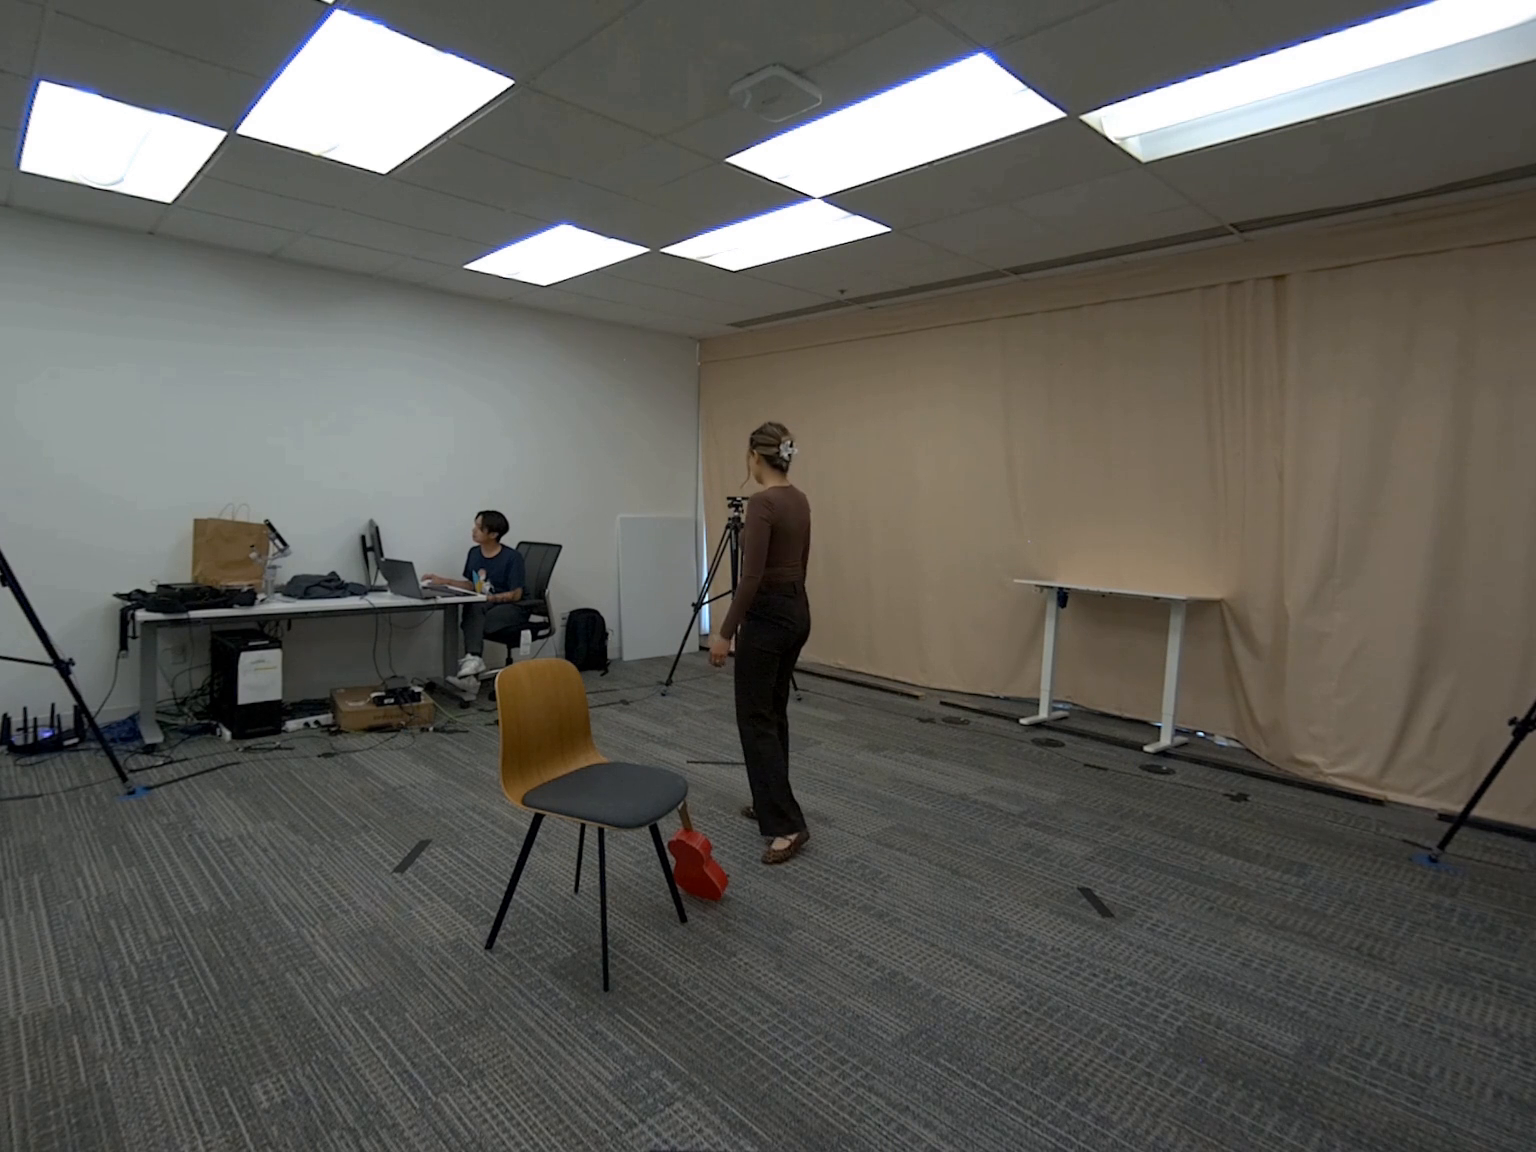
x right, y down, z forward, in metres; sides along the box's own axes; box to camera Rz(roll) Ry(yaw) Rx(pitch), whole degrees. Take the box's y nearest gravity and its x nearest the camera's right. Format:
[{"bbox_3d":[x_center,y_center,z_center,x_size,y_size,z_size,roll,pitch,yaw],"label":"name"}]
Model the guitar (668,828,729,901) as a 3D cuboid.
[{"bbox_3d":[-0.295,0.896,2.868,0.197,0.488,0.070,-4,25,35],"label":"guitar"}]
